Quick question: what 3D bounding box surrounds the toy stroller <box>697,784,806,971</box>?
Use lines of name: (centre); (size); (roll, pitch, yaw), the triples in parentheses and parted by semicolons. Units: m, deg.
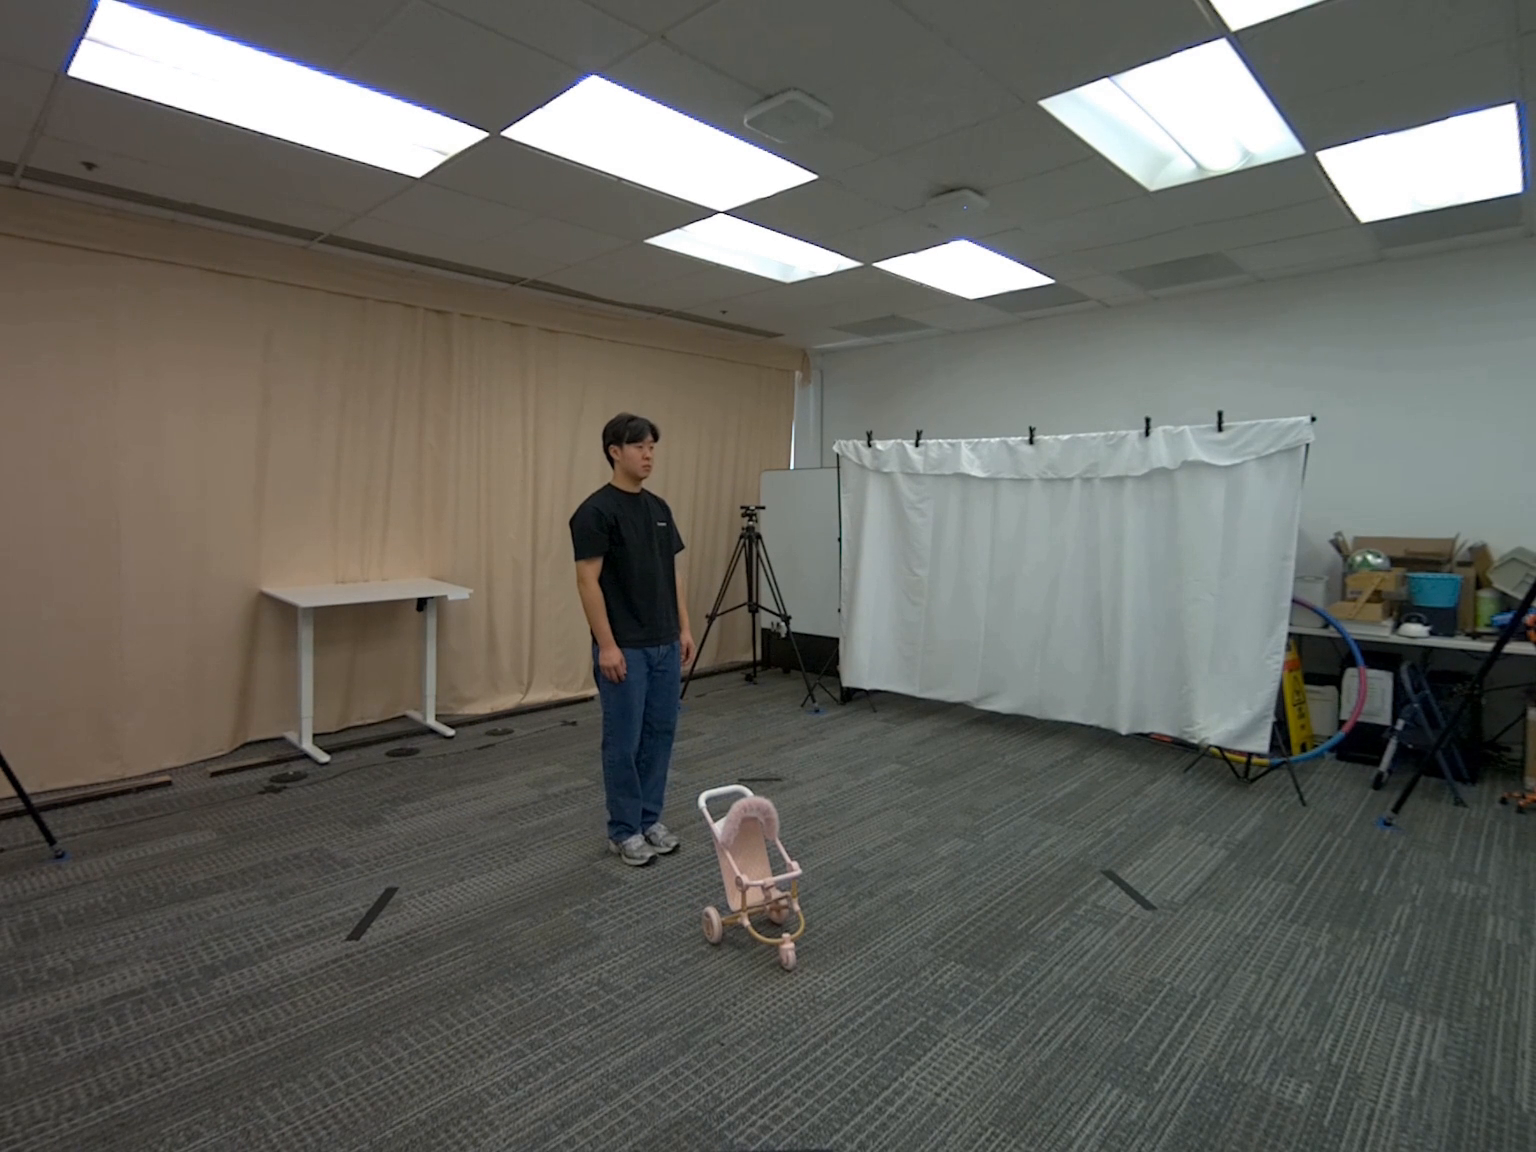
toy stroller: (-0.039, 0.947, 2.683); (0.274, 0.540, 0.347); (-2, -13, -26)
